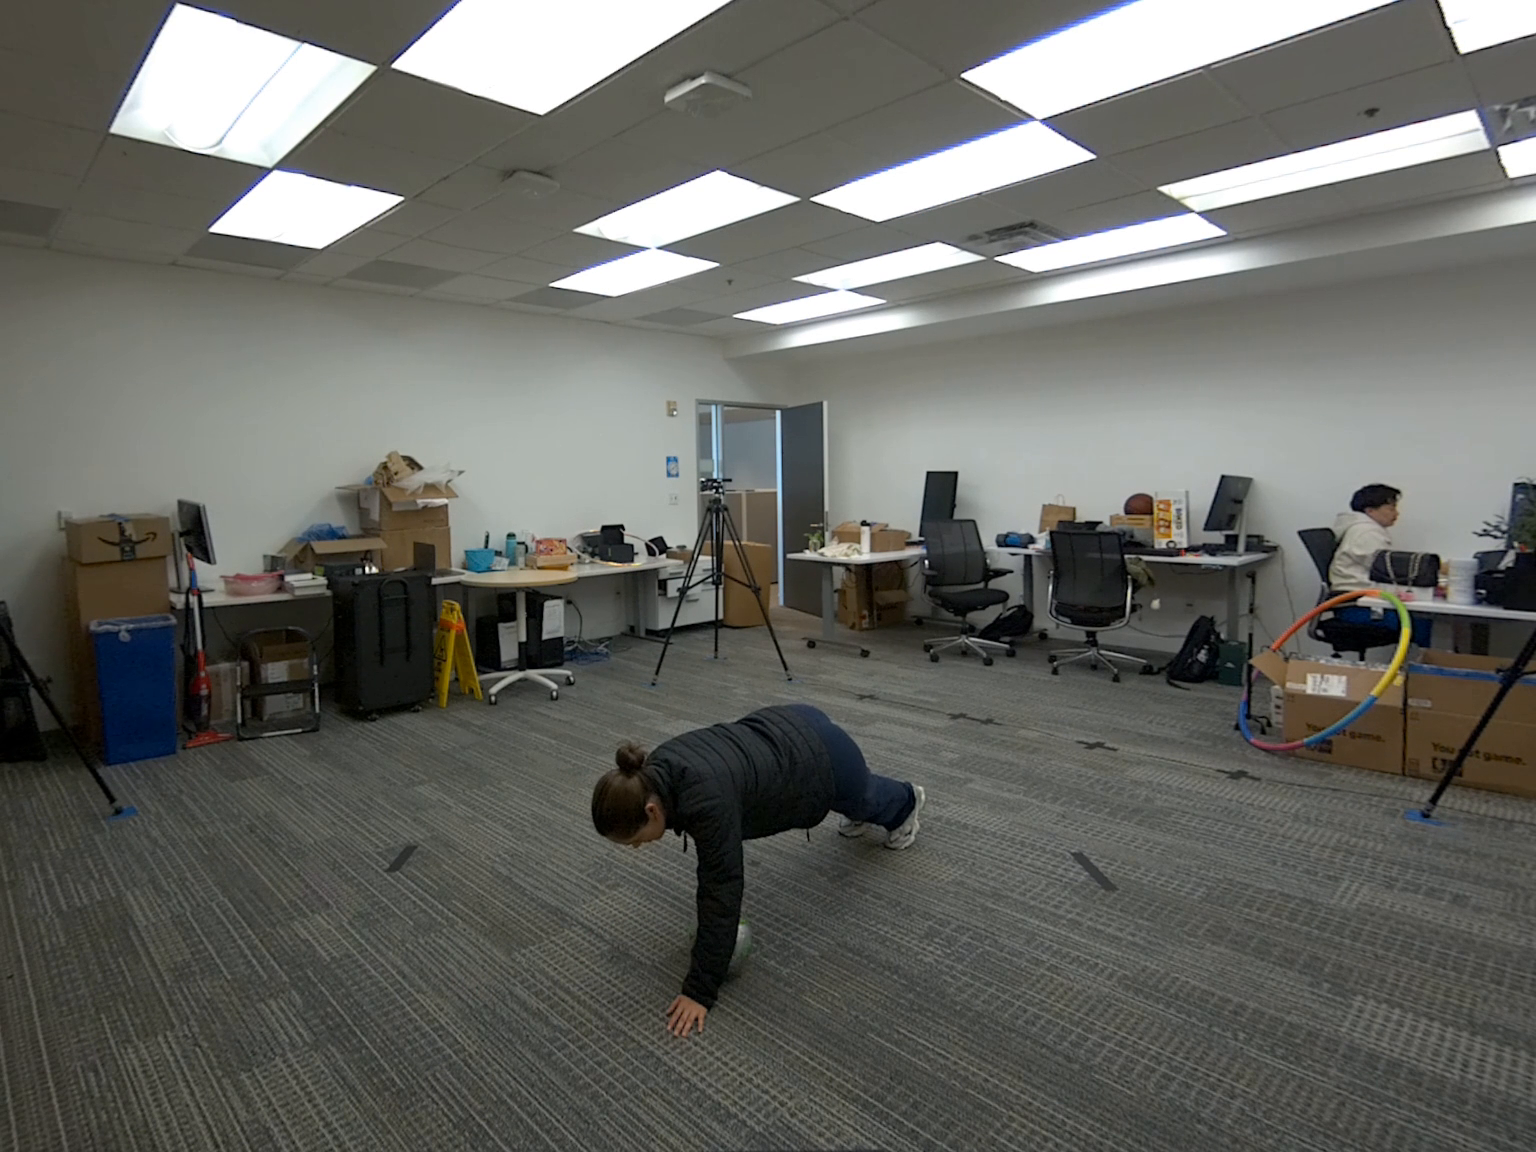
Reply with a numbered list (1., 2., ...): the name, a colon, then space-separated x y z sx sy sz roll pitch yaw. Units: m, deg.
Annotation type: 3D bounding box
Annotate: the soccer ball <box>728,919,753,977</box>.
1. soccer ball: -0.127 1.041 2.426 0.187 0.187 0.188 -1 5 -2
